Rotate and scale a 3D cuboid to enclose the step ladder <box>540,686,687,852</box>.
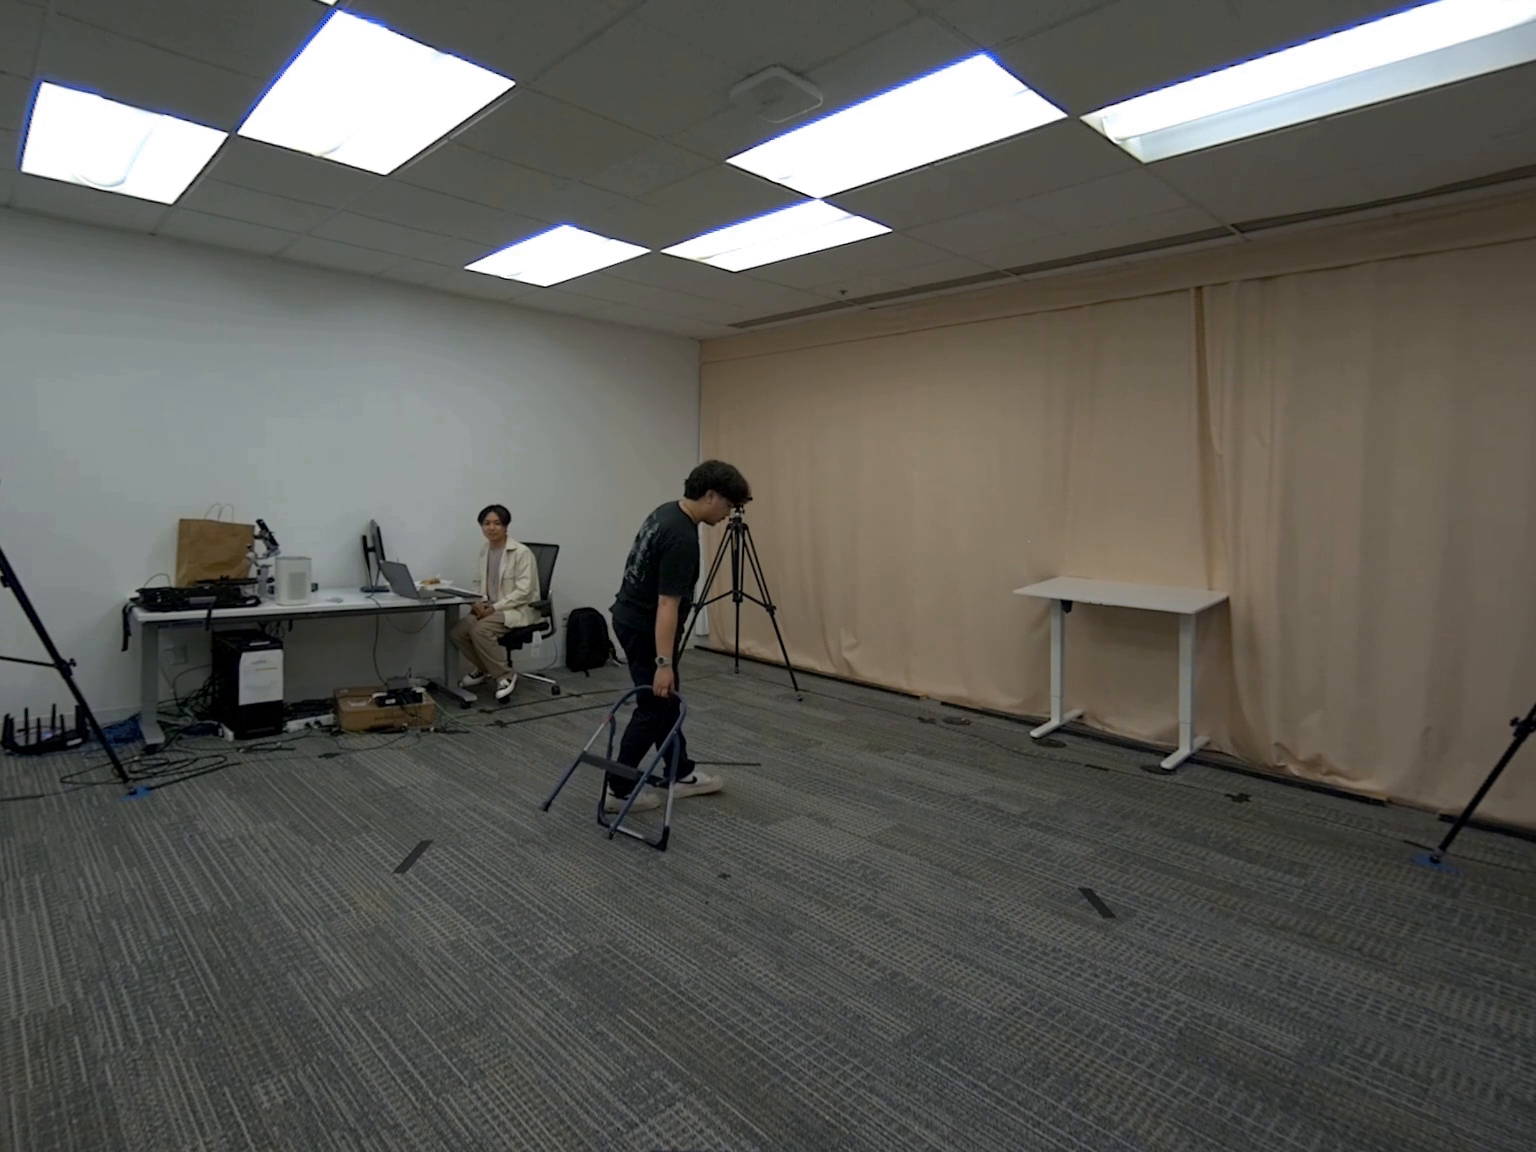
[{"bbox_3d":[-0.581,0.732,3.408,0.441,0.610,0.338,5,-20,40],"label":"step ladder"}]
